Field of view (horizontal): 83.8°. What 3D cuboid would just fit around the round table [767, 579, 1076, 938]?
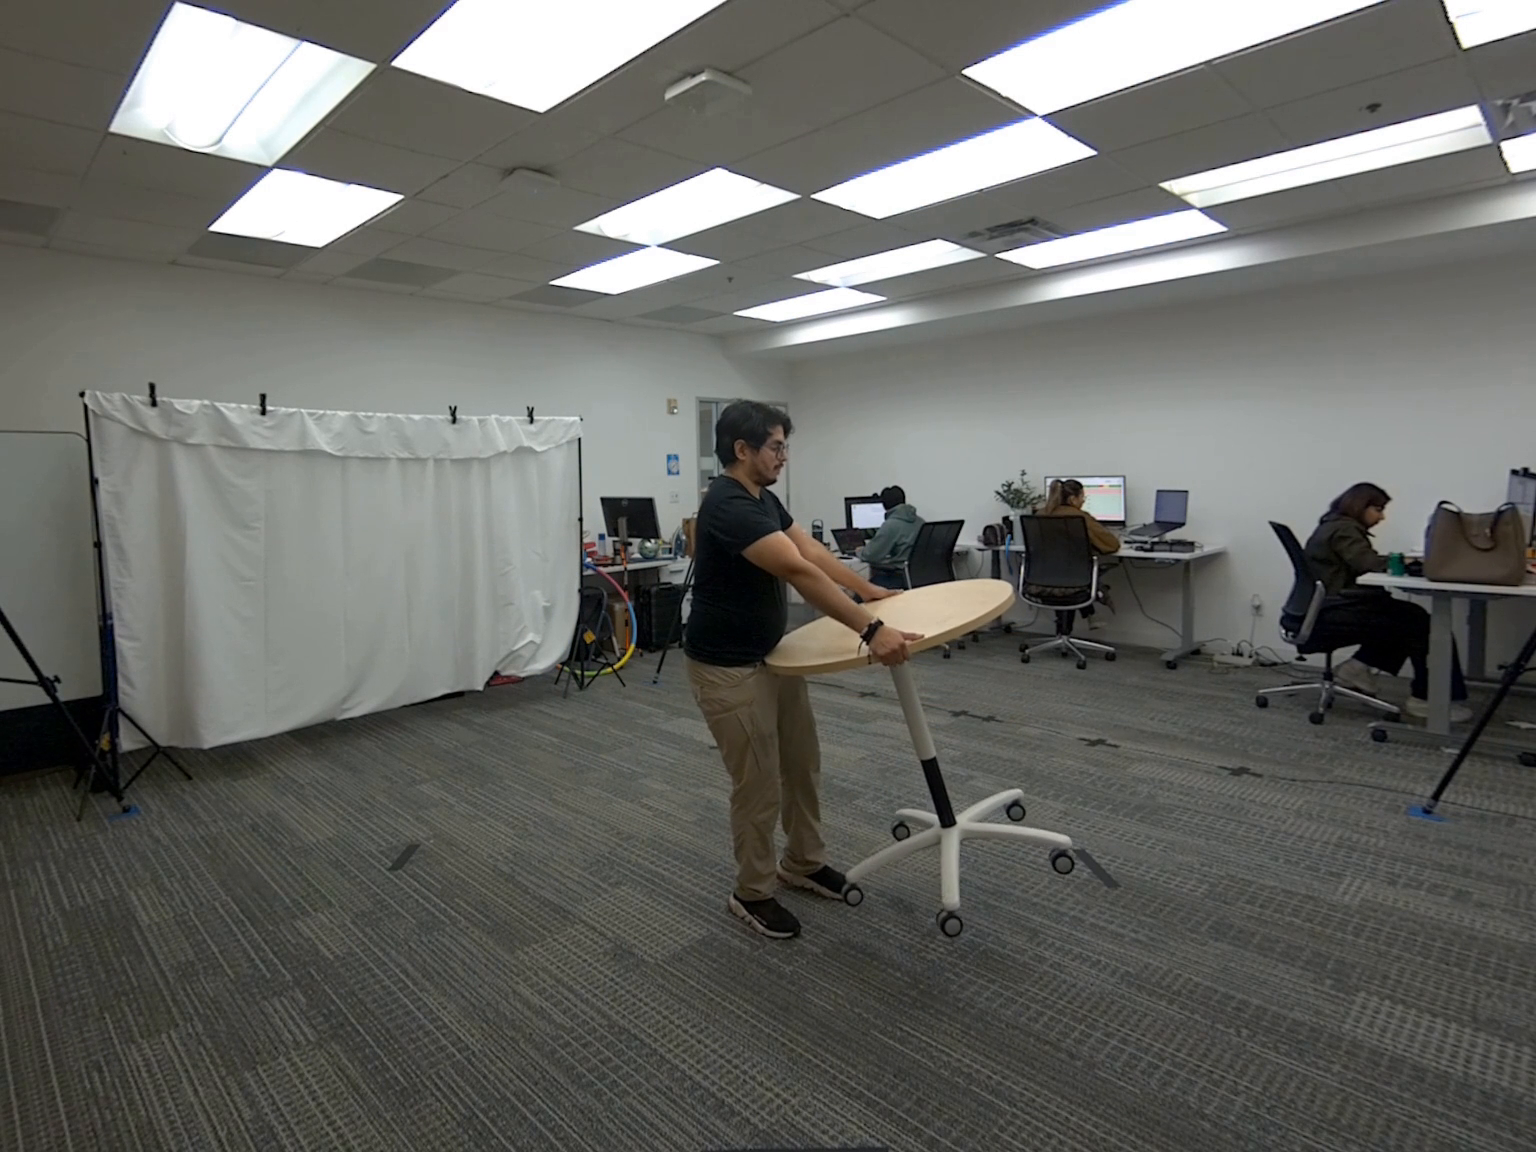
[{"bbox_3d":[0.471,0.511,2.615,0.785,0.783,0.789,-17,5,0],"label":"round table"}]
